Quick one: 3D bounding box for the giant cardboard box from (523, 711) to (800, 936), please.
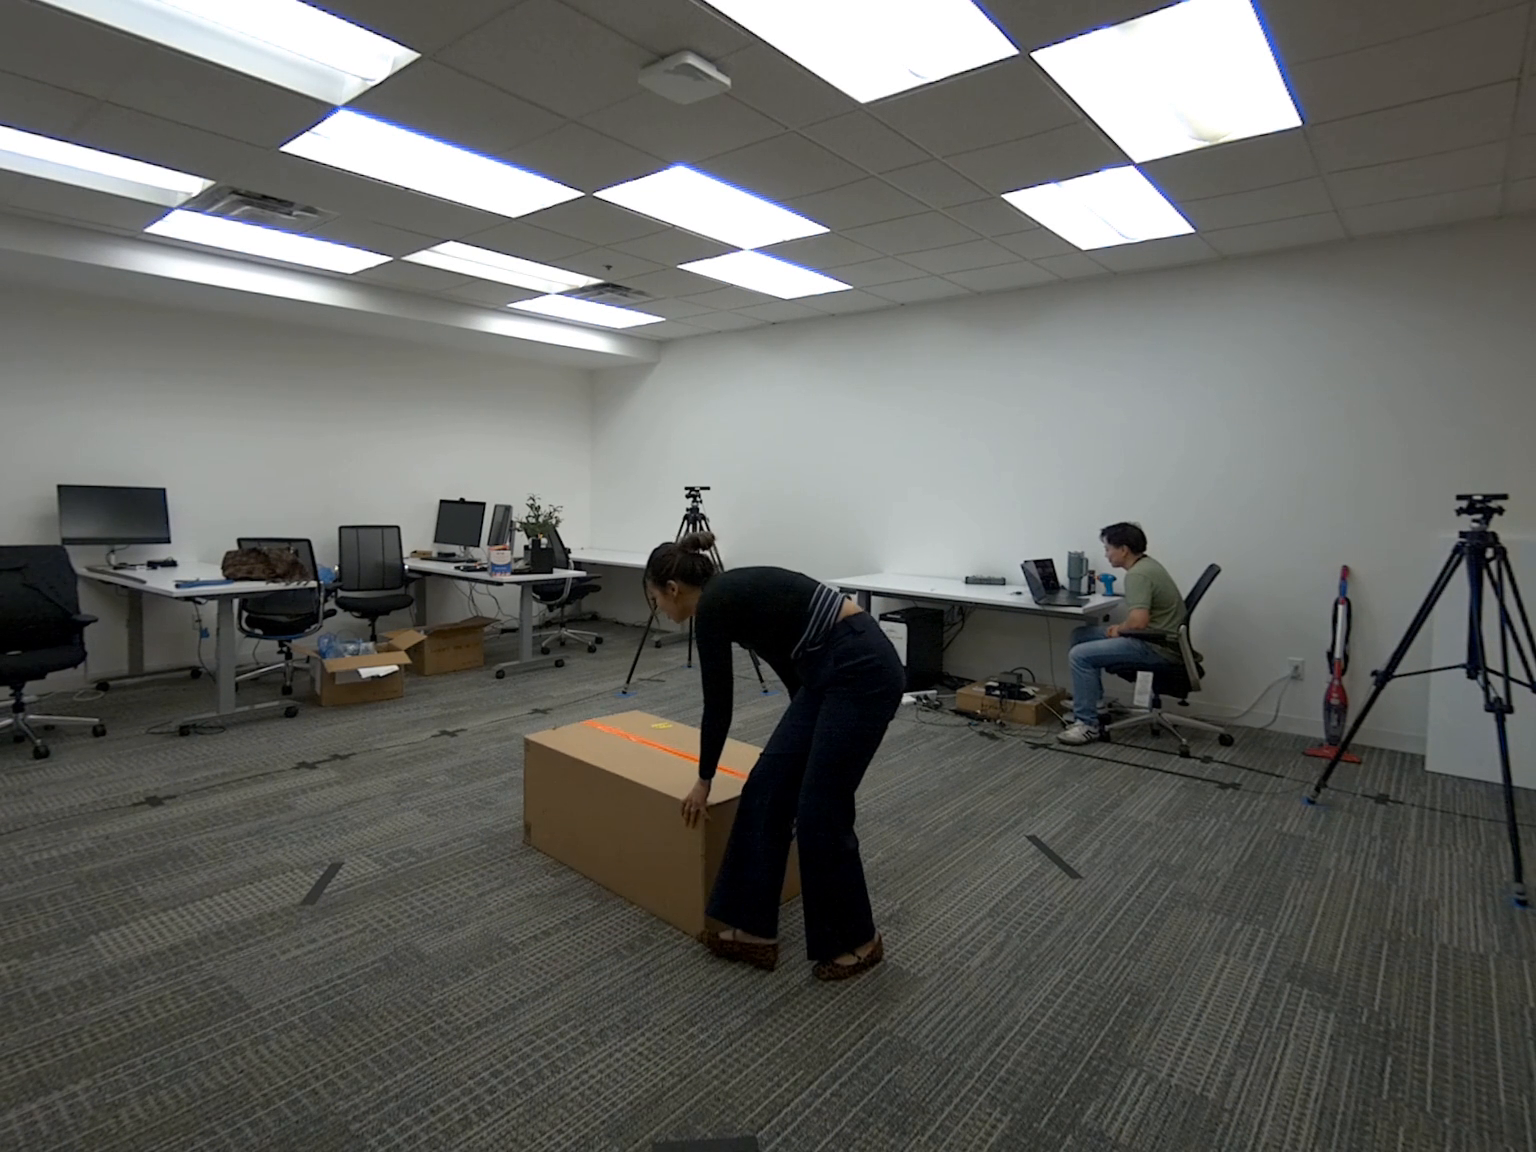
[{"bbox_3d":[-0.393,0.844,3.137,1.061,0.425,0.560,6,6,43],"label":"giant cardboard box"}]
